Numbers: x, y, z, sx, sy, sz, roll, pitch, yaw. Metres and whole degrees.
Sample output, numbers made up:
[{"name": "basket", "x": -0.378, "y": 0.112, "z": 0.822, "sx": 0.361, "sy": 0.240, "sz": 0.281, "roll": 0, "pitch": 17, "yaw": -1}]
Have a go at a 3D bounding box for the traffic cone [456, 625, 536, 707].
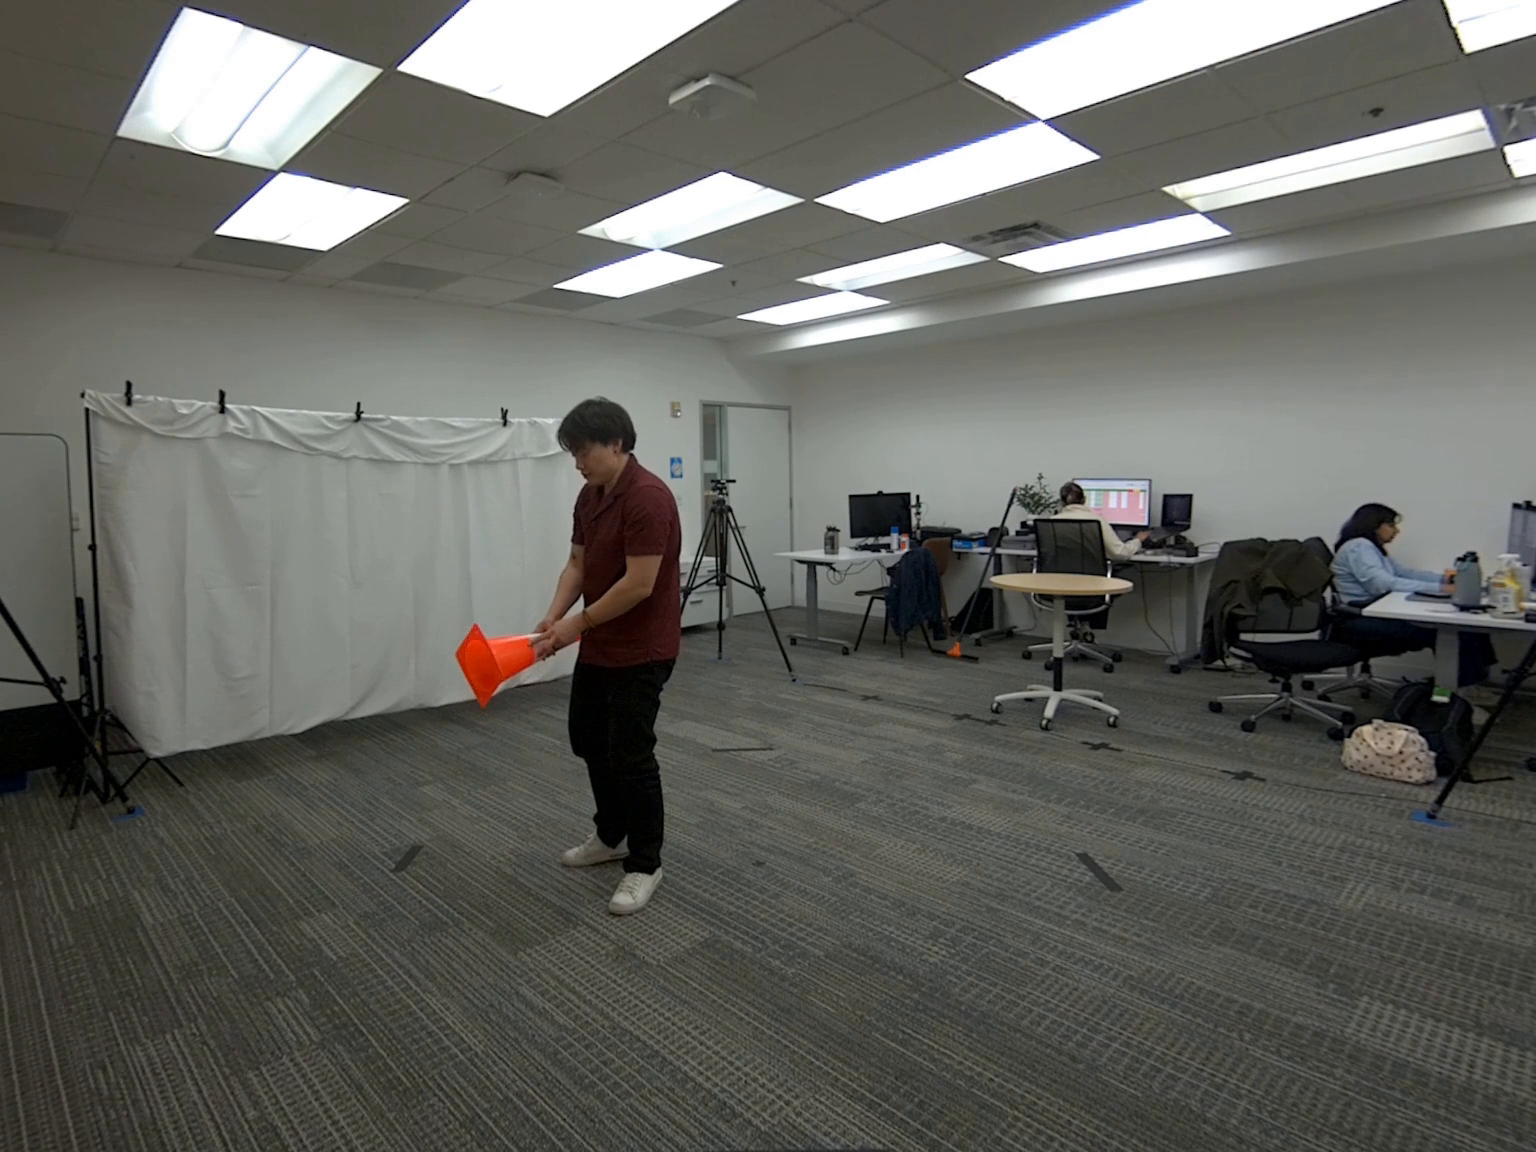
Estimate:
[{"name": "traffic cone", "x": -0.756, "y": 0.234, "z": 2.692, "sx": 0.376, "sy": 0.208, "sz": 0.204, "roll": -19, "pitch": -23, "yaw": -47}]
